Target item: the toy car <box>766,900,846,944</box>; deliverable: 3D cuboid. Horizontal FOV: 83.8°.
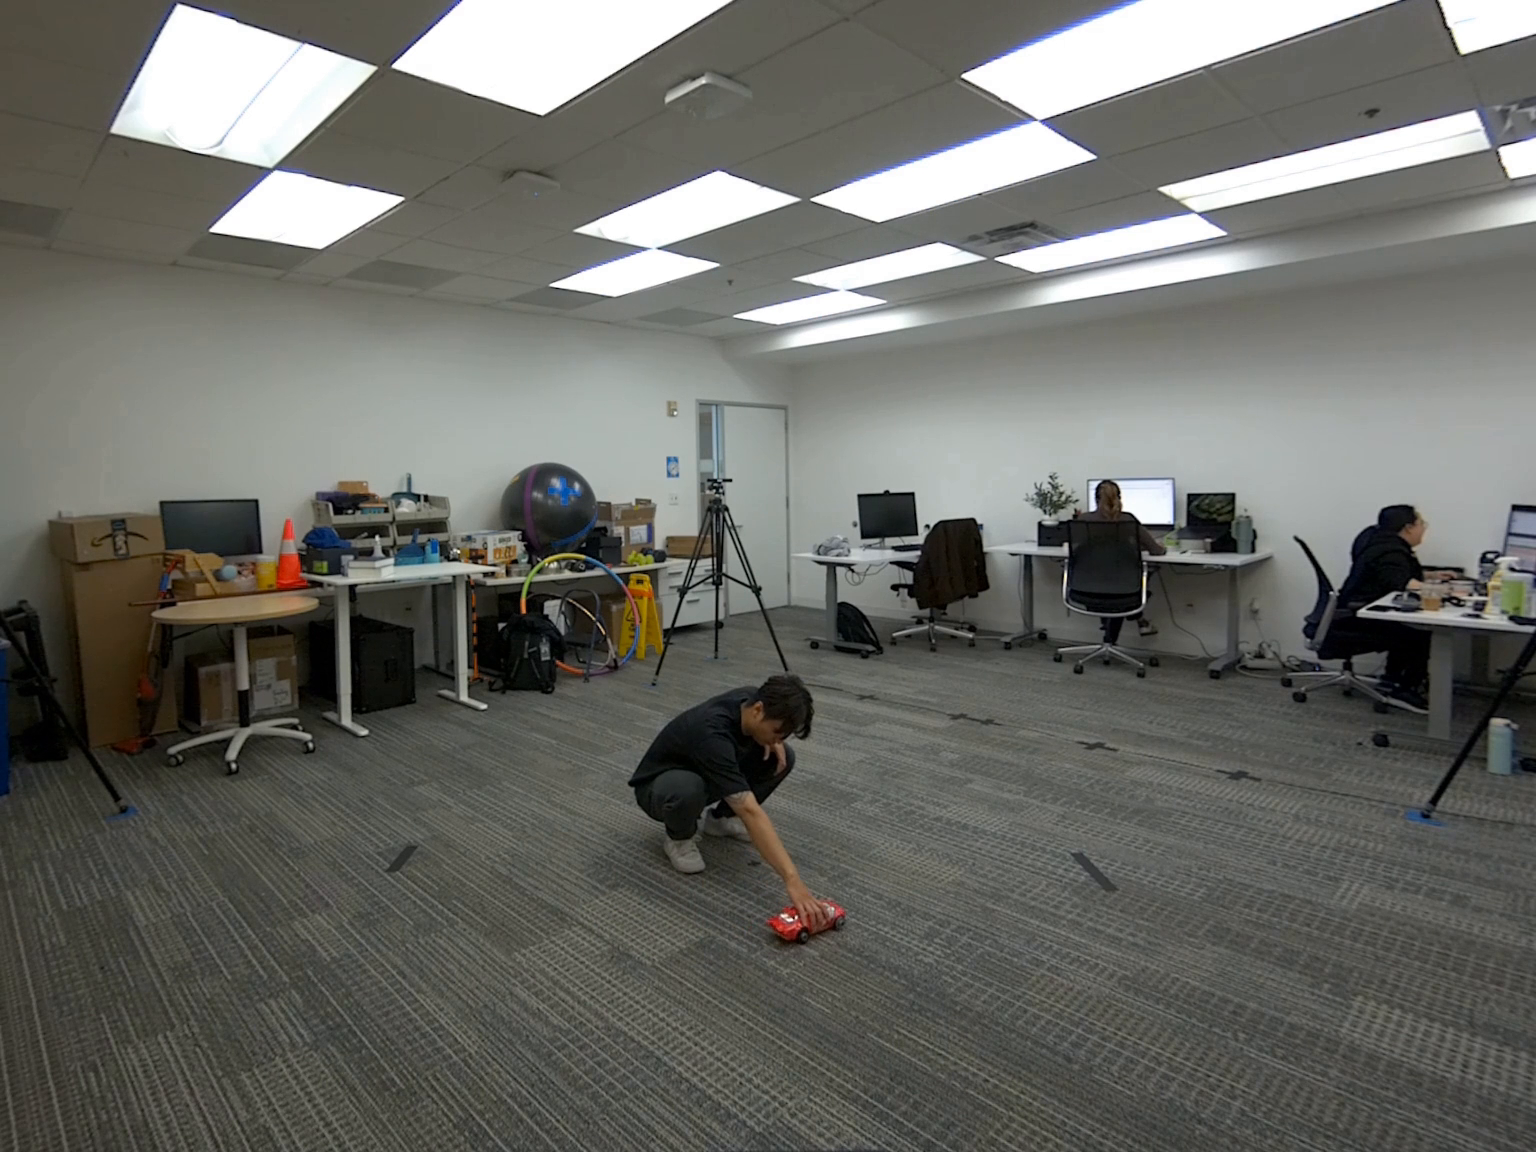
[{"bbox_3d":[0.112,1.069,2.640,0.247,0.083,0.134,8,1,-33],"label":"toy car"}]
